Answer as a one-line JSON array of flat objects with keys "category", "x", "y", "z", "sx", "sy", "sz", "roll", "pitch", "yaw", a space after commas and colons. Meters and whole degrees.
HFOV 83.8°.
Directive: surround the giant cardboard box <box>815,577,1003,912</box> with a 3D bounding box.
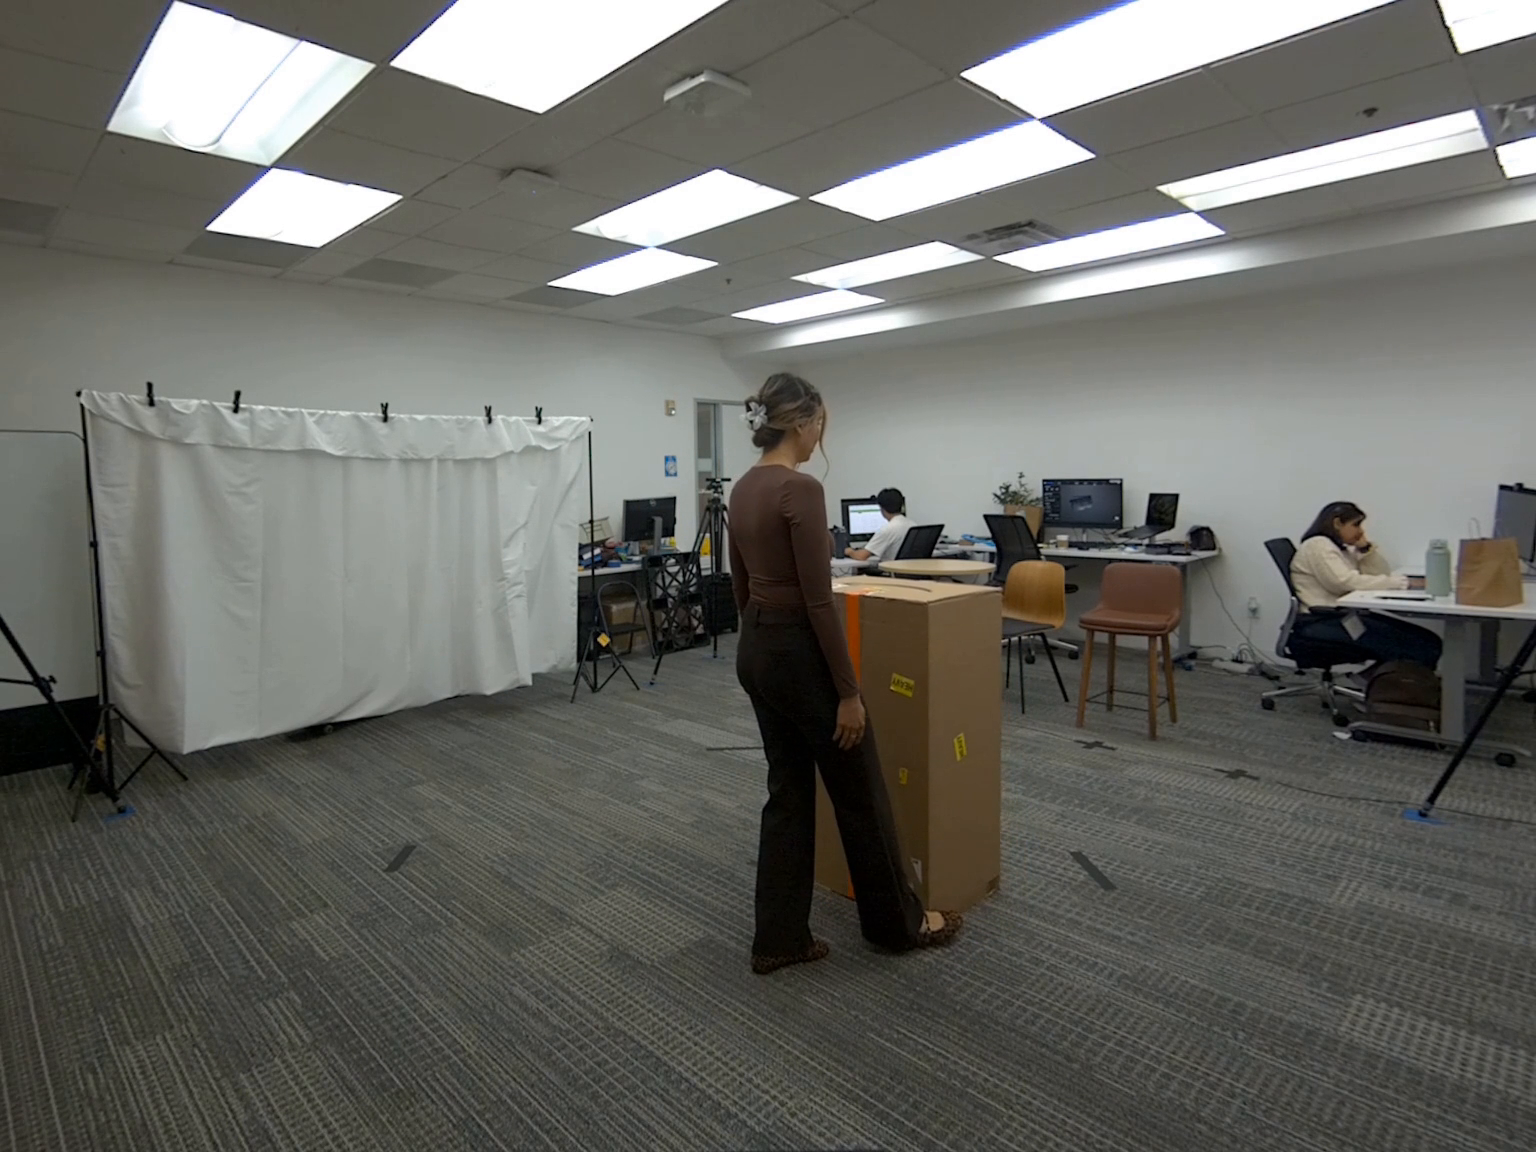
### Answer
[{"category": "giant cardboard box", "x": 0.431, "y": 0.542, "z": 2.919, "sx": 0.435, "sy": 1.023, "sz": 0.602, "roll": -5, "pitch": 6, "yaw": -42}]
